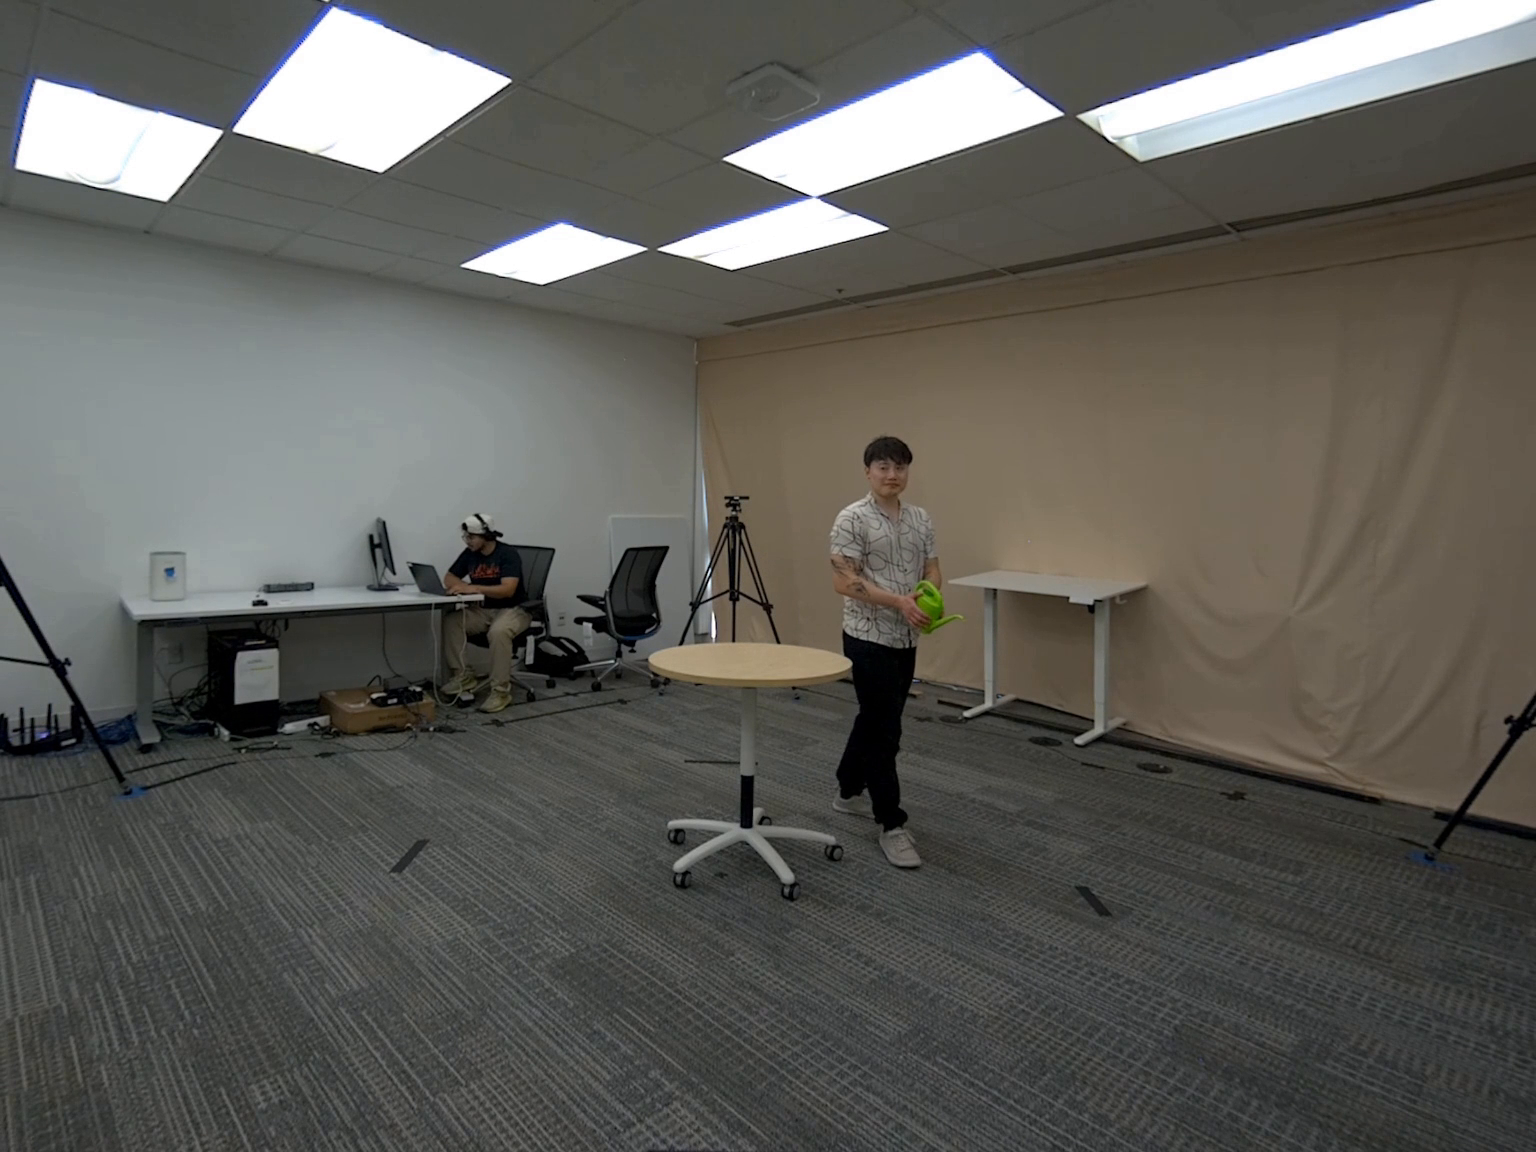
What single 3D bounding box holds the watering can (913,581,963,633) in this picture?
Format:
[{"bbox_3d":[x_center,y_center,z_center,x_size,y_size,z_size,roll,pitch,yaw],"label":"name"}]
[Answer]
[{"bbox_3d":[0.622,0.140,3.246,0.097,0.174,0.285,6,32,-16],"label":"watering can"}]
